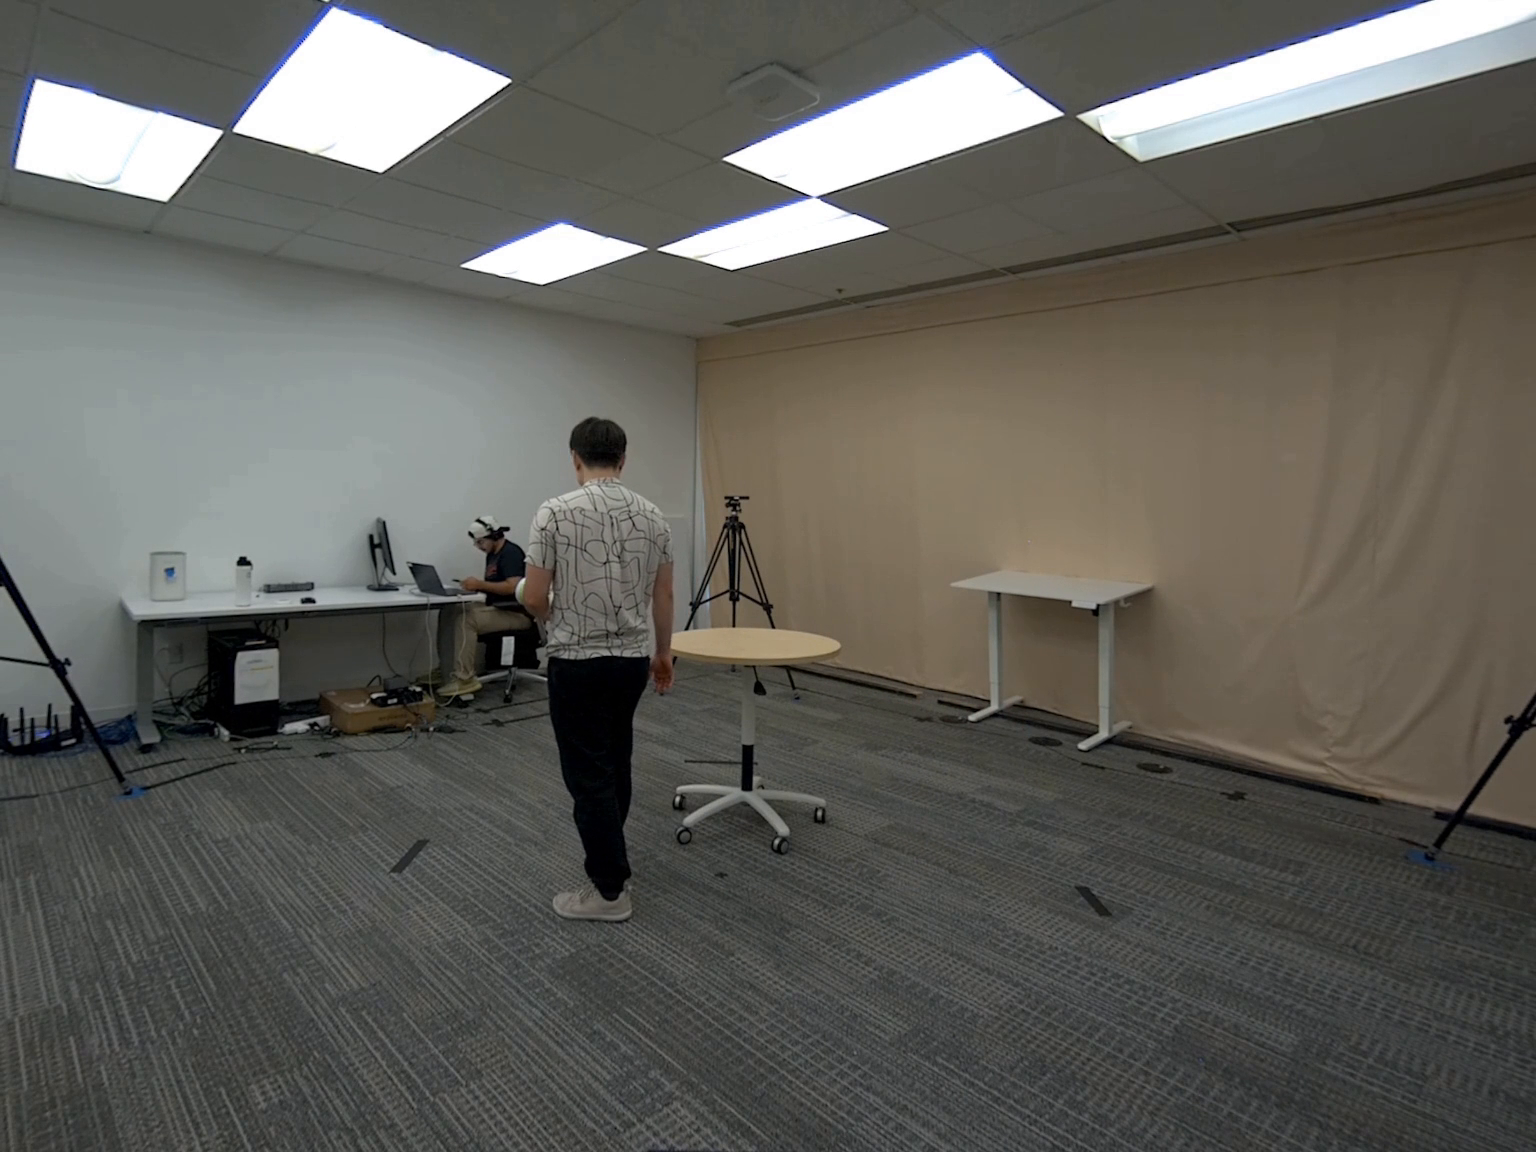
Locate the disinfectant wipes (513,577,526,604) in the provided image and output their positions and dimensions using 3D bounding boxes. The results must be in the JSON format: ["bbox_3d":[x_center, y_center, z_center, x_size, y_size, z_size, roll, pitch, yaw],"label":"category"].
[{"bbox_3d":[-0.803,0.076,3.057,0.223,0.117,0.115,14,11,35],"label":"disinfectant wipes"}]
